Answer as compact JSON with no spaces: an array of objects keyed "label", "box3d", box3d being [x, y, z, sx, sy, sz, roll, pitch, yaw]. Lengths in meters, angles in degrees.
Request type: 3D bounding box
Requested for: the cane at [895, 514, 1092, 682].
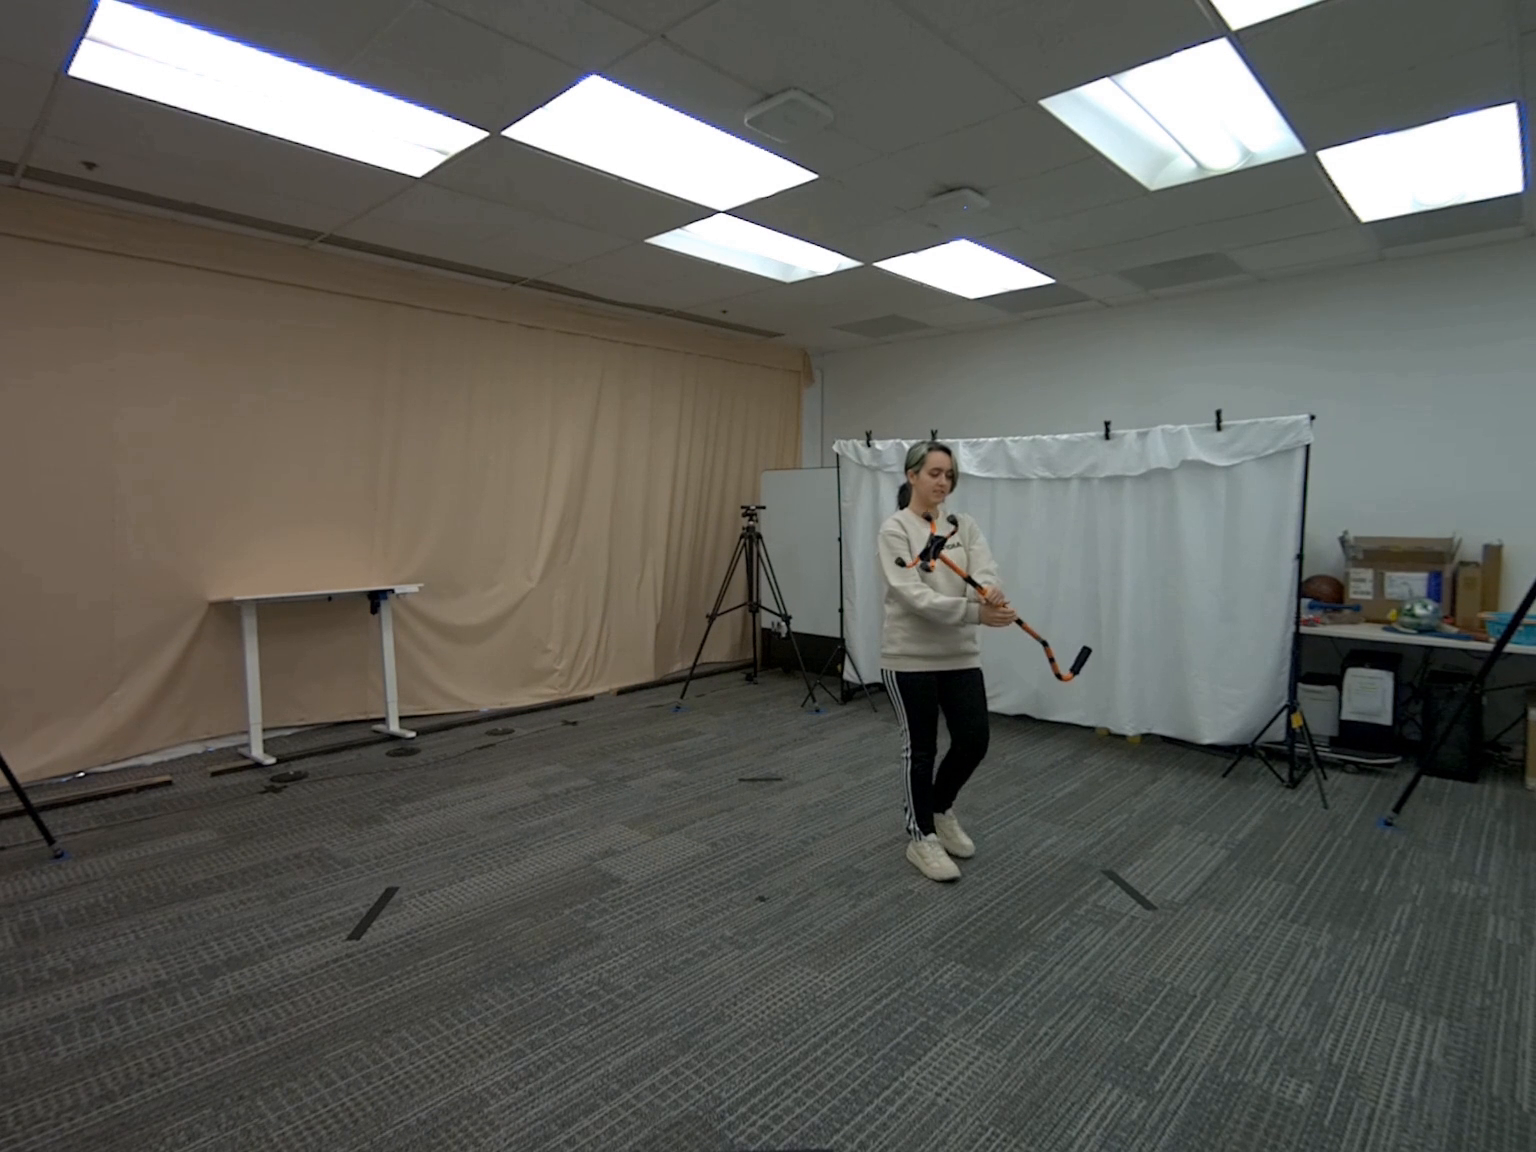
[{"label":"cane","box3d":[0.825,0.124,2.875,0.882,0.206,0.156,37,-7,-26]}]
